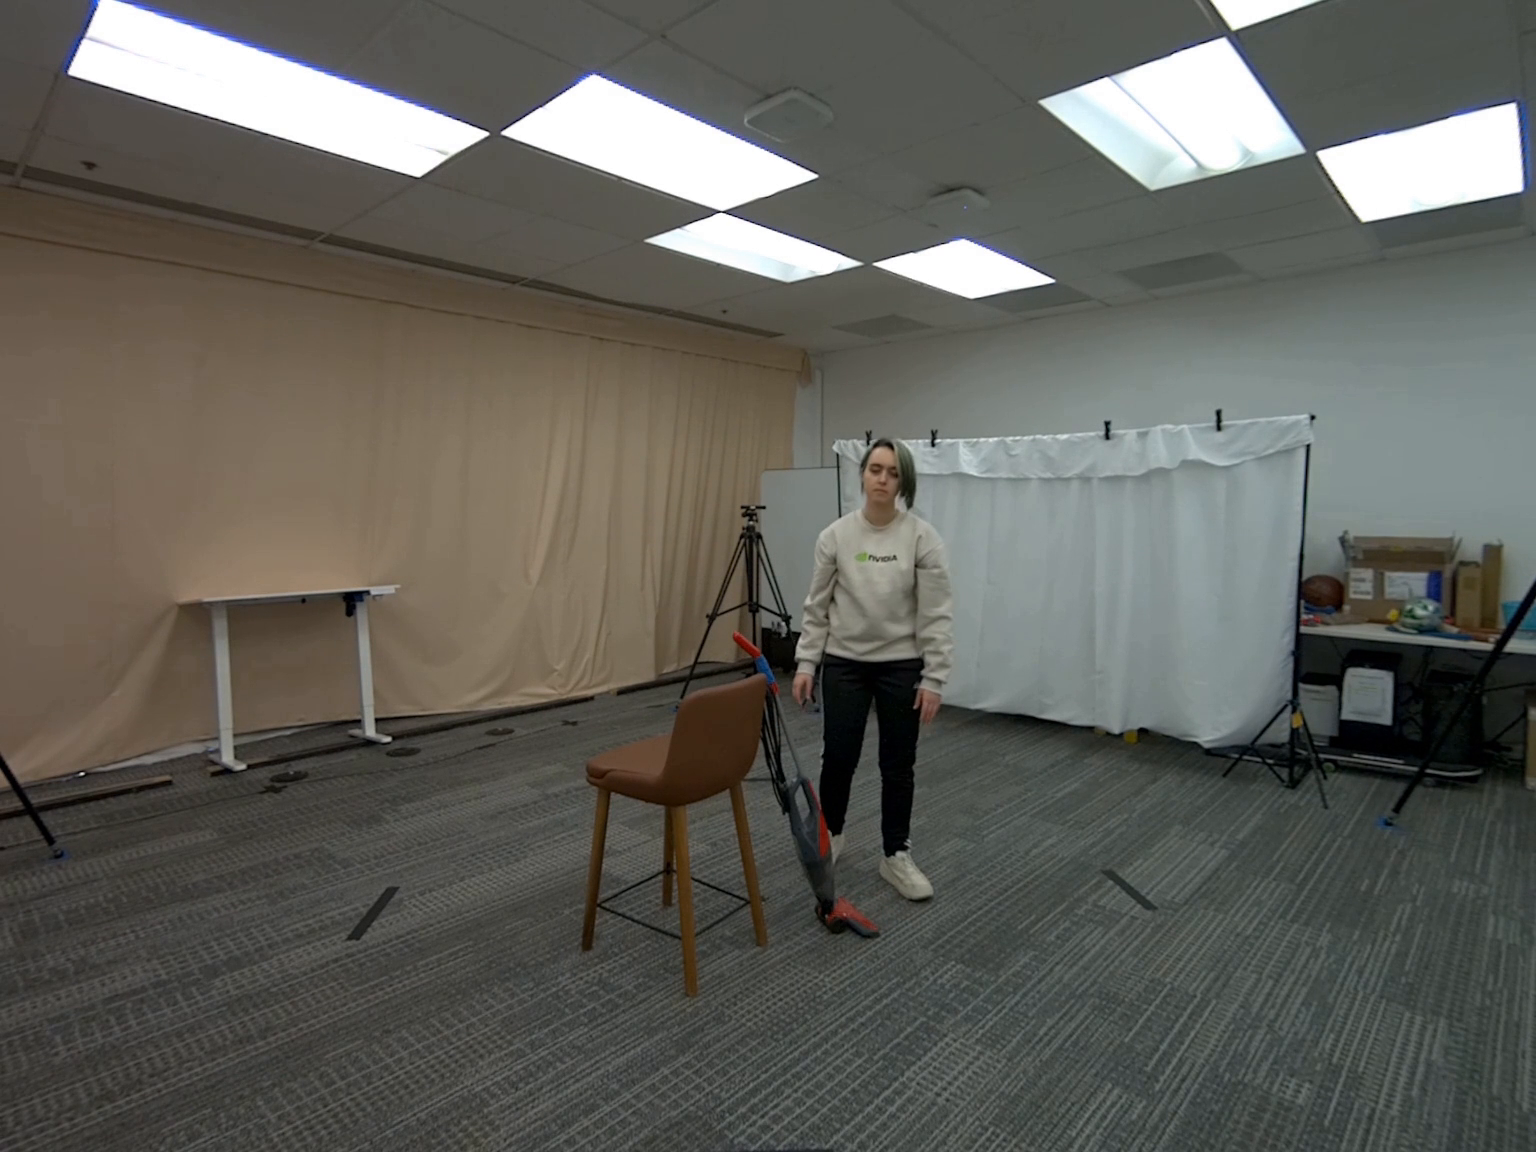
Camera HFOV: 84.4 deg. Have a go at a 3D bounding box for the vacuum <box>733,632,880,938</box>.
[{"bbox_3d":[0.086,0.667,2.736,0.142,1.041,0.257,-21,8,-16],"label":"vacuum"}]
